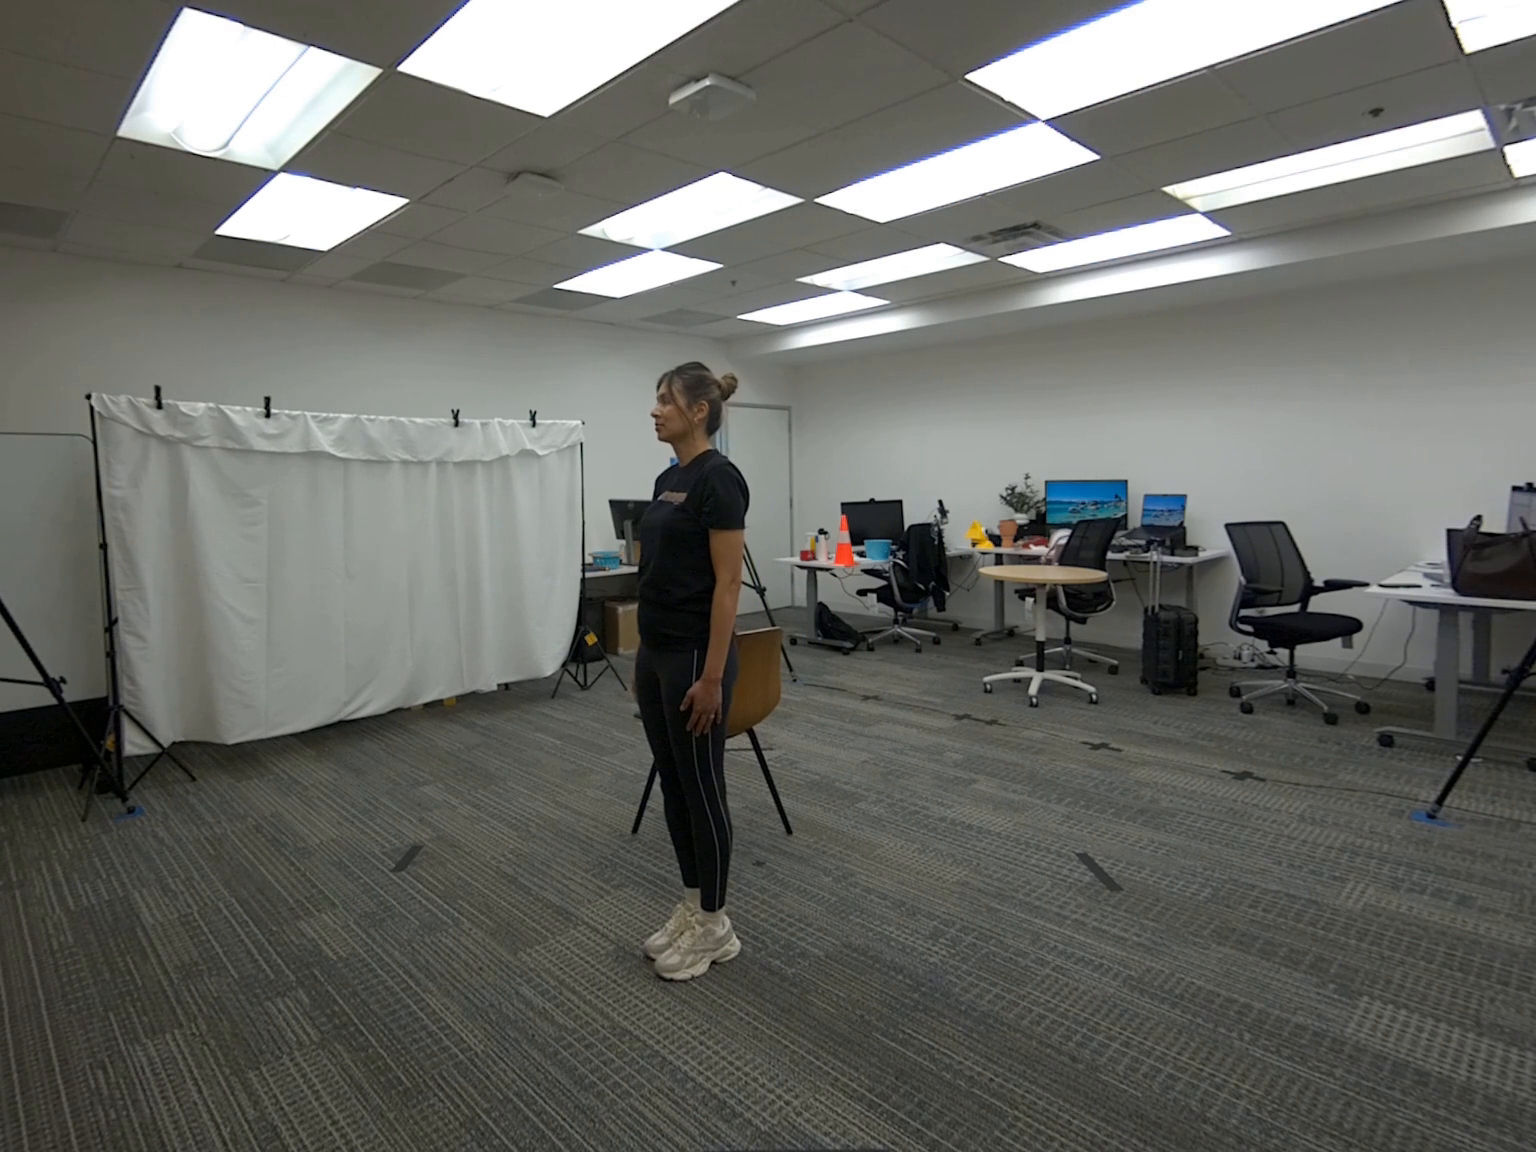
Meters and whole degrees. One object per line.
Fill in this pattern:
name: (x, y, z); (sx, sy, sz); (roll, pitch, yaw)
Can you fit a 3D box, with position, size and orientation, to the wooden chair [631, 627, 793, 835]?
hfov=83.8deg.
wooden chair: (-0.233, 0.595, 3.354); (0.465, 0.872, 0.540); (-5, 10, -44)
